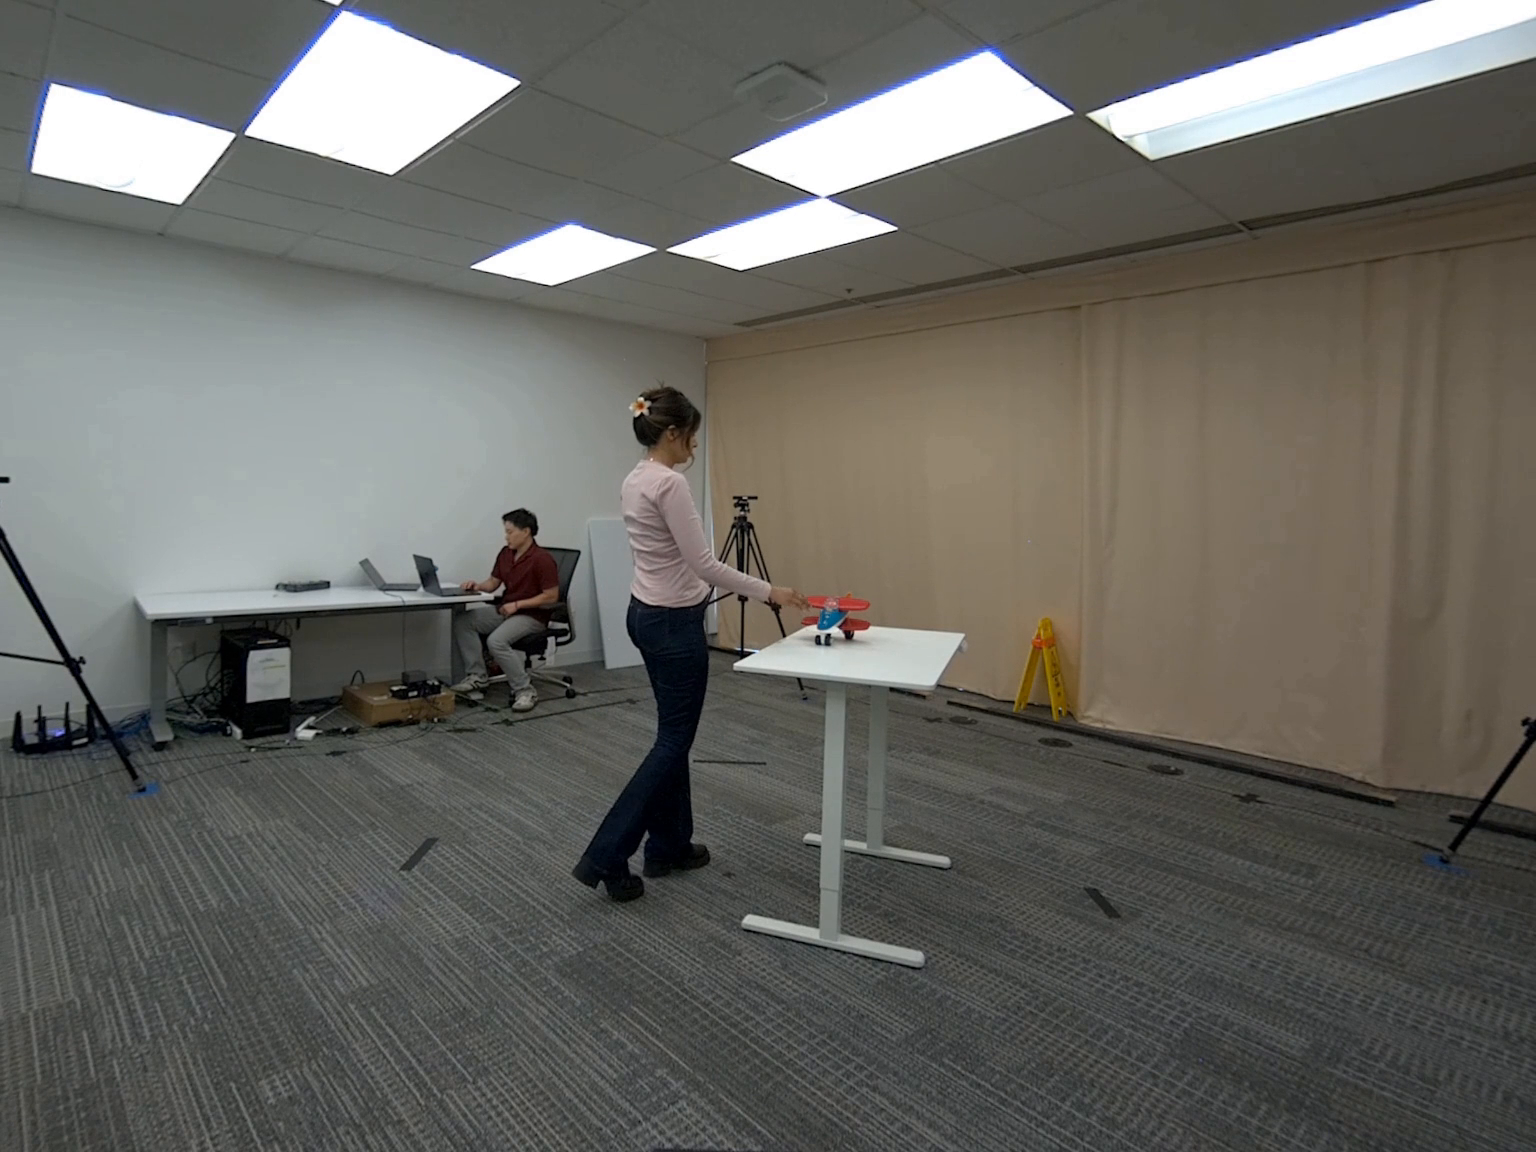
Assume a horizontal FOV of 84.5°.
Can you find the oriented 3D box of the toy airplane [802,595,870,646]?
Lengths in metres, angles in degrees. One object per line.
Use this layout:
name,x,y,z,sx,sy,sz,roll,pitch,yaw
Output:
toy airplane,0.242,0.161,3.025,0.250,0.156,0.261,1,4,-7
